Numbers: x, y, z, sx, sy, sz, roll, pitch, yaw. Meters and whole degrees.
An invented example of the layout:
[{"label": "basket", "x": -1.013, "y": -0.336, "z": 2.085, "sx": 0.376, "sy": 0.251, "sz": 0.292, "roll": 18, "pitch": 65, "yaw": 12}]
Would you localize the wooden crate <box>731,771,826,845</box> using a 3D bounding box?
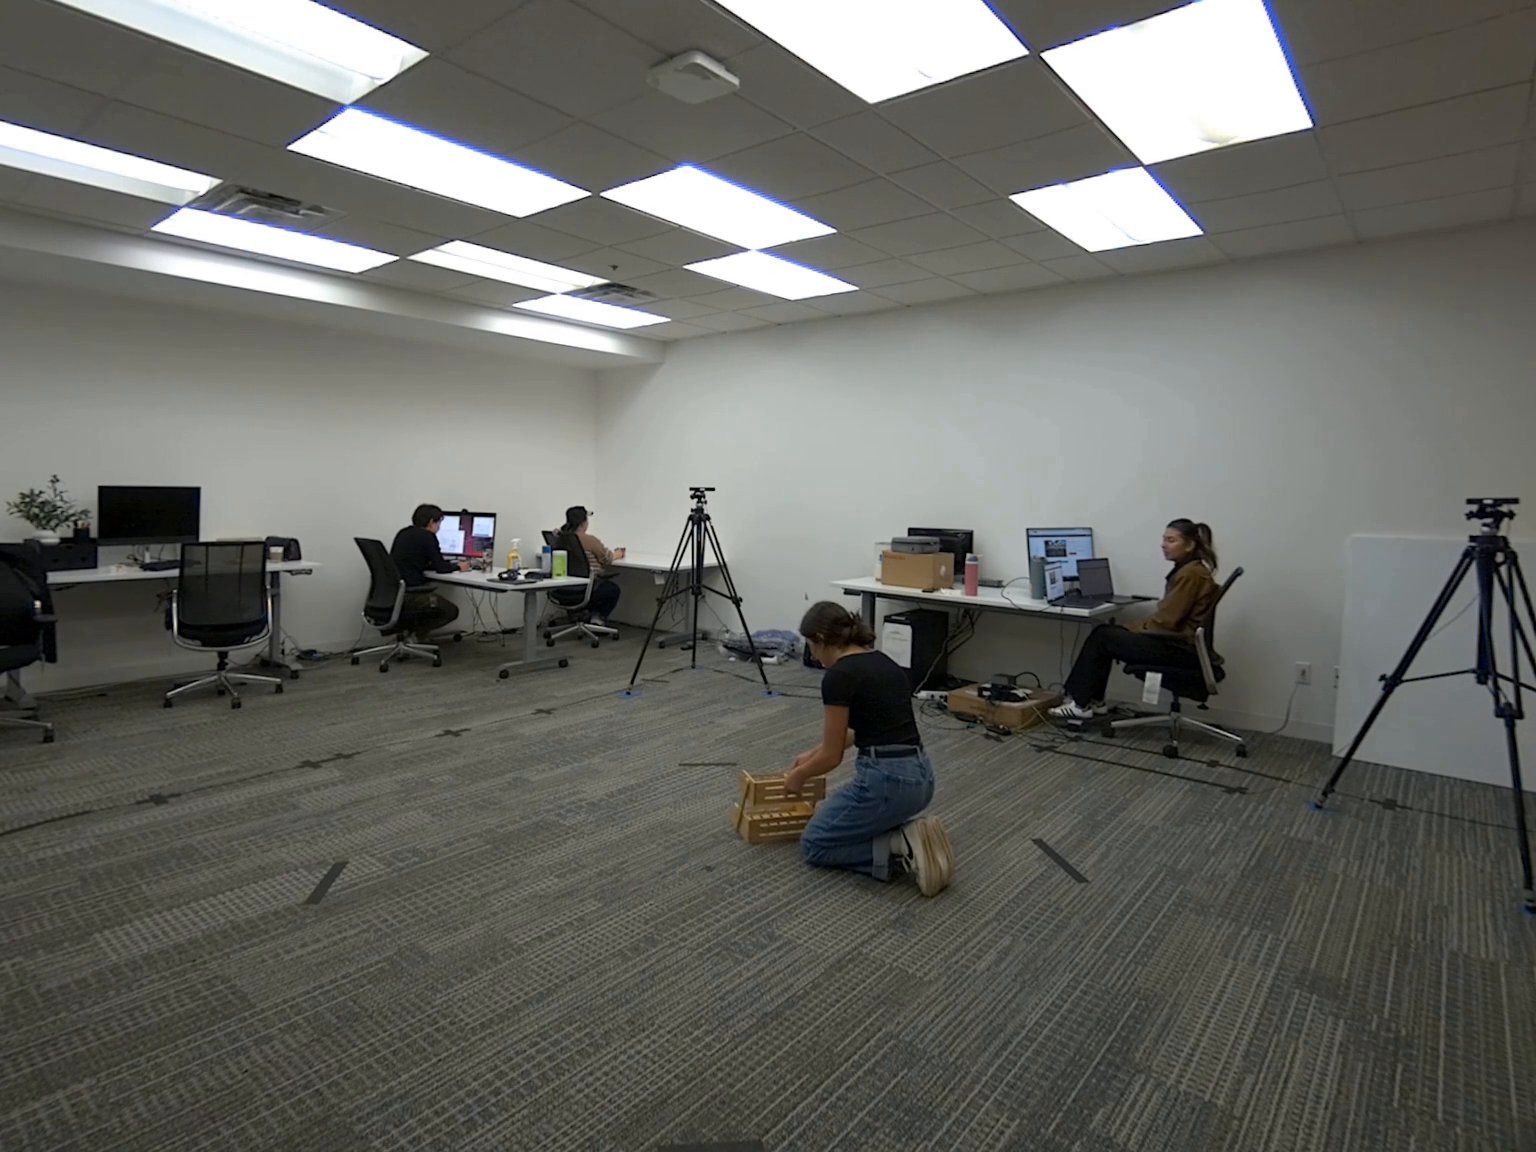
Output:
[{"label": "wooden crate", "x": 0.025, "y": 0.901, "z": 3.473, "sx": 0.318, "sy": 0.272, "sz": 0.309, "roll": 0, "pitch": 4, "yaw": -19}]
